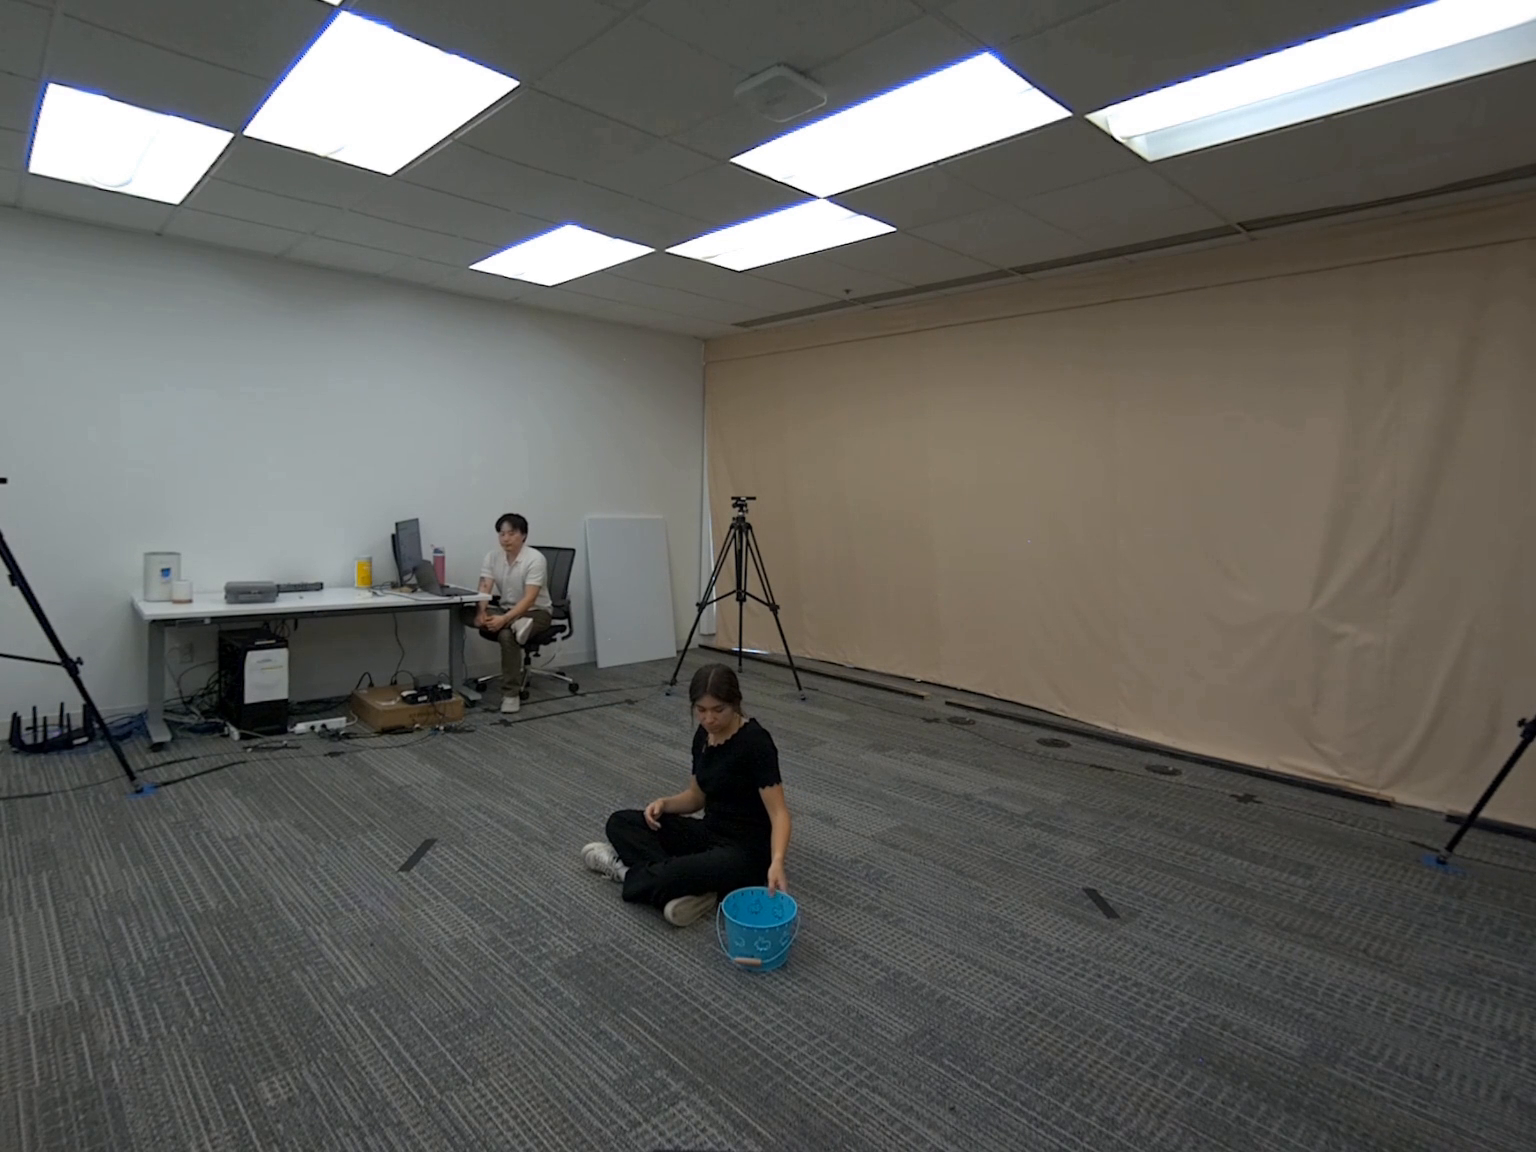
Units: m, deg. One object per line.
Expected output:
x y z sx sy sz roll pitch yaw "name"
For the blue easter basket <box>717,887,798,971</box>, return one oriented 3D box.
-0.045 1.078 2.558 0.243 0.155 0.245 2 6 -2 "blue easter basket"
